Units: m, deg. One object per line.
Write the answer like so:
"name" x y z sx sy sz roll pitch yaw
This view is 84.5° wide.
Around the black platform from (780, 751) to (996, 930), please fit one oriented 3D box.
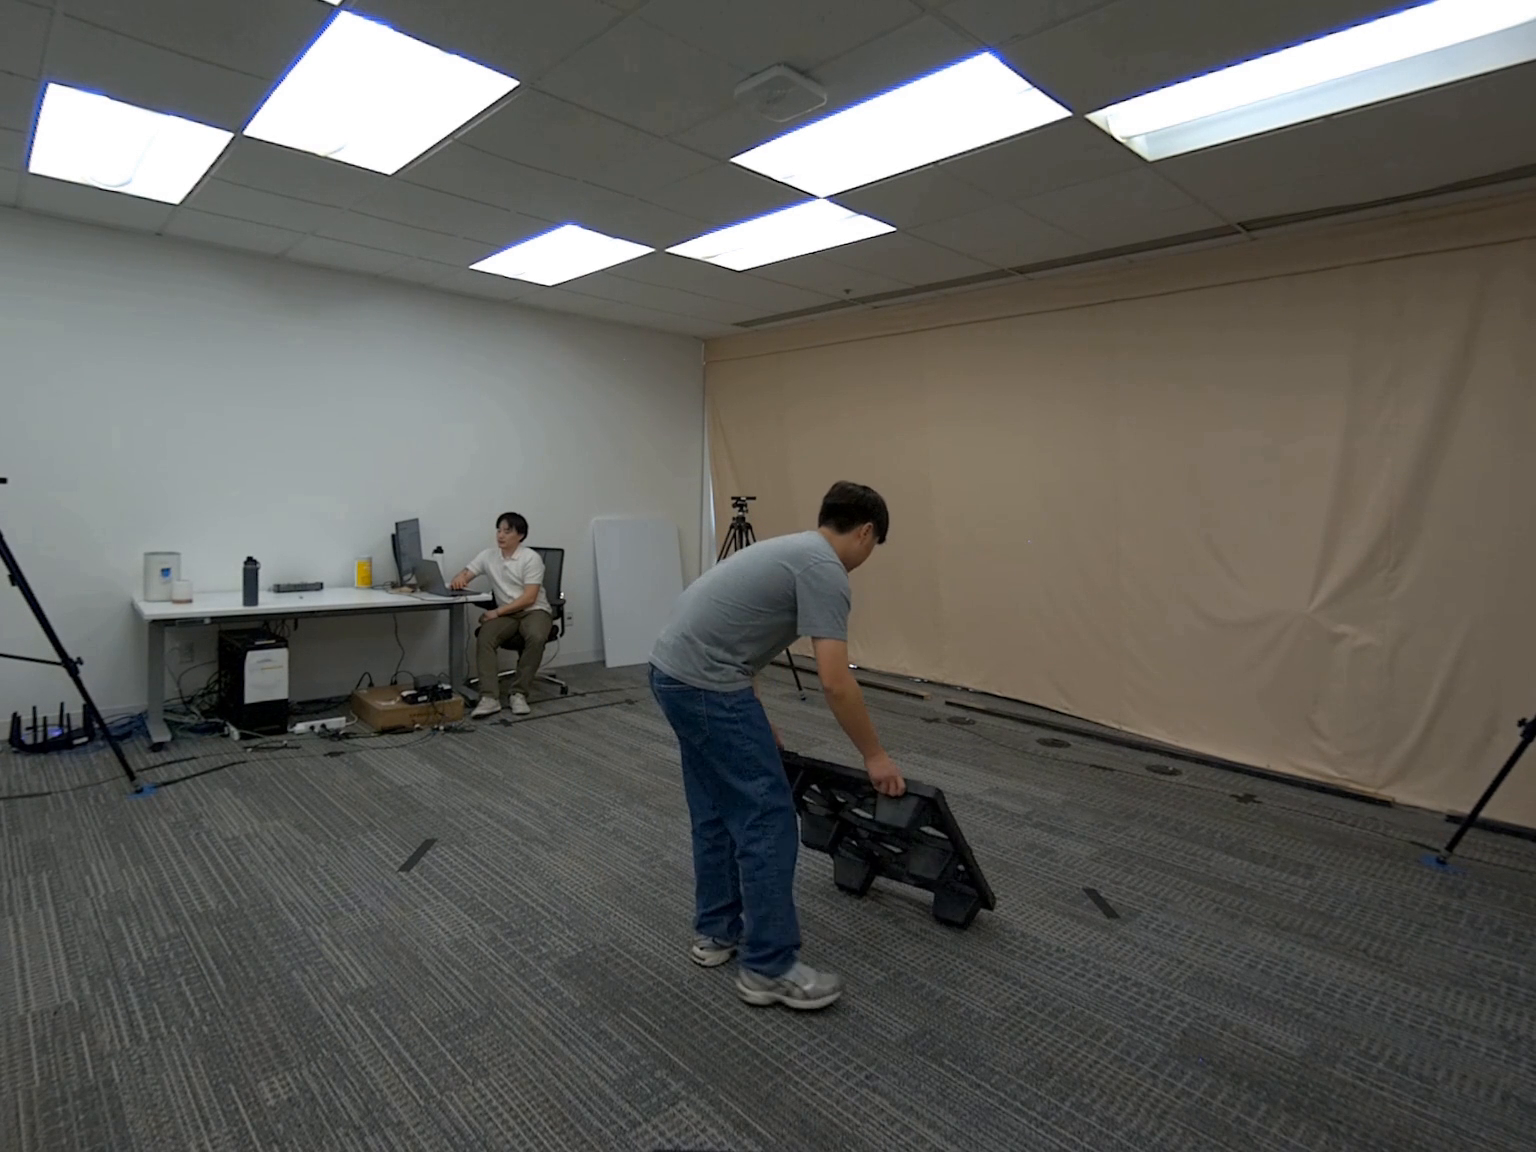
"black platform" 0.333 0.854 2.687 0.619 0.144 0.781 5 -39 34
